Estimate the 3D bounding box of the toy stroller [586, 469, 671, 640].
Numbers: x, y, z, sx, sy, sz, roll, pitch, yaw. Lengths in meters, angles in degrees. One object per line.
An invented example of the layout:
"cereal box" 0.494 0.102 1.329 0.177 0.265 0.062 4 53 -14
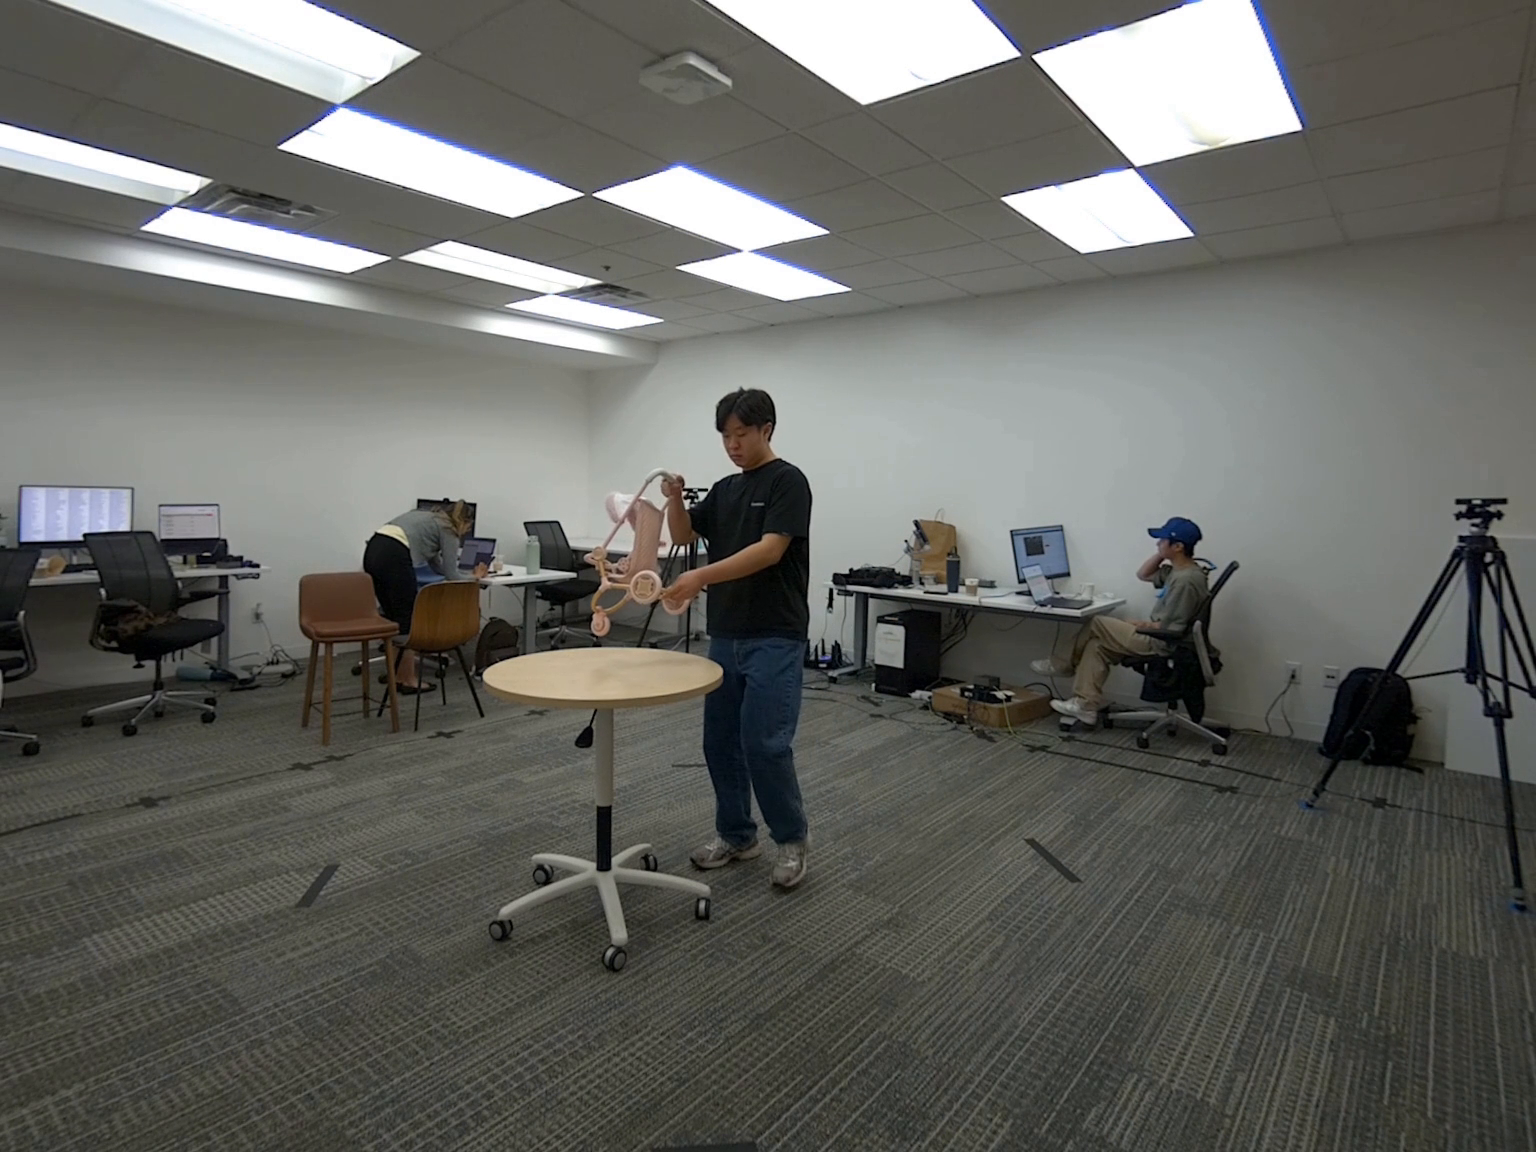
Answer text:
"toy stroller" -0.481 -0.073 2.956 0.348 0.543 0.272 -11 -15 22
